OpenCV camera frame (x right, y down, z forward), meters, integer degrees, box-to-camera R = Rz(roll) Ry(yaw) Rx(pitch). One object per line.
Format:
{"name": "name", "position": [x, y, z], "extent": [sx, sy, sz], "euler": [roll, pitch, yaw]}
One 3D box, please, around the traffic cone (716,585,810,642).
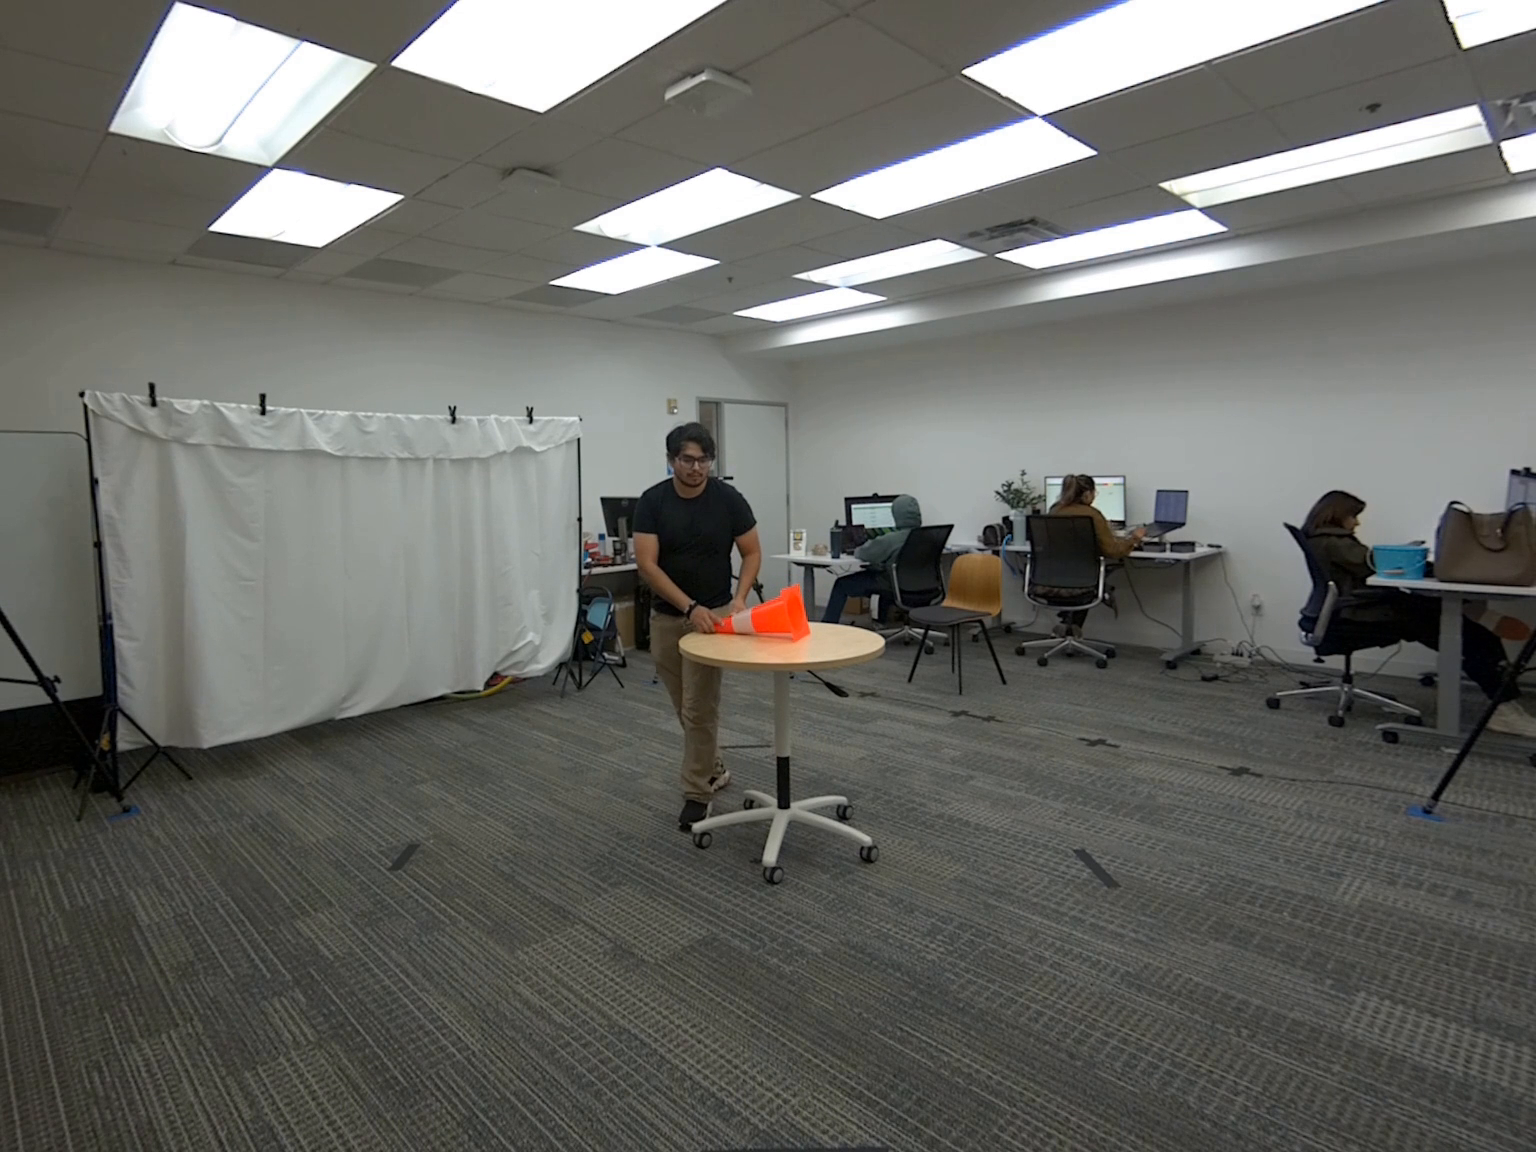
{"name": "traffic cone", "position": [-0.060, 0.177, 3.300], "extent": [0.389, 0.203, 0.202], "euler": [-13, 2, 21]}
